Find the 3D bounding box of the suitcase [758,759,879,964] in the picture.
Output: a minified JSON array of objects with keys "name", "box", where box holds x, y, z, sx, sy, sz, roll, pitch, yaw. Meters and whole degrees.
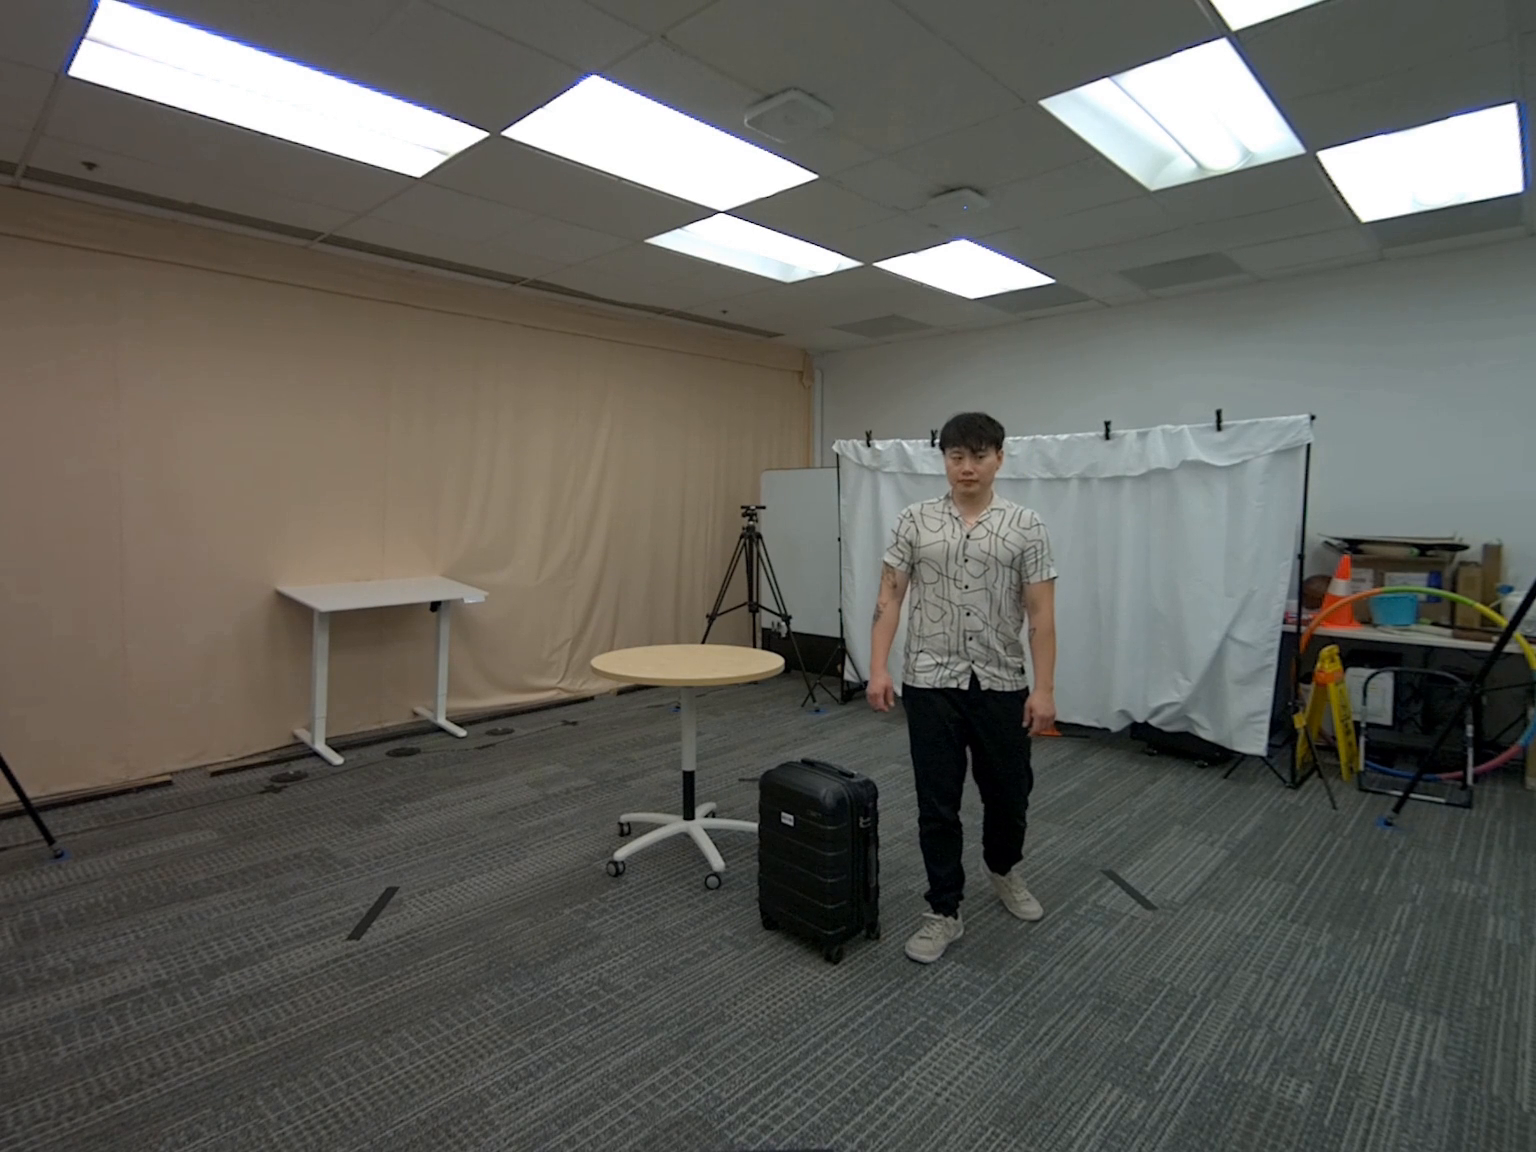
[{"name":"suitcase","box":[0.168,0.889,2.719,0.241,0.548,0.388,-5,7,-42]}]
